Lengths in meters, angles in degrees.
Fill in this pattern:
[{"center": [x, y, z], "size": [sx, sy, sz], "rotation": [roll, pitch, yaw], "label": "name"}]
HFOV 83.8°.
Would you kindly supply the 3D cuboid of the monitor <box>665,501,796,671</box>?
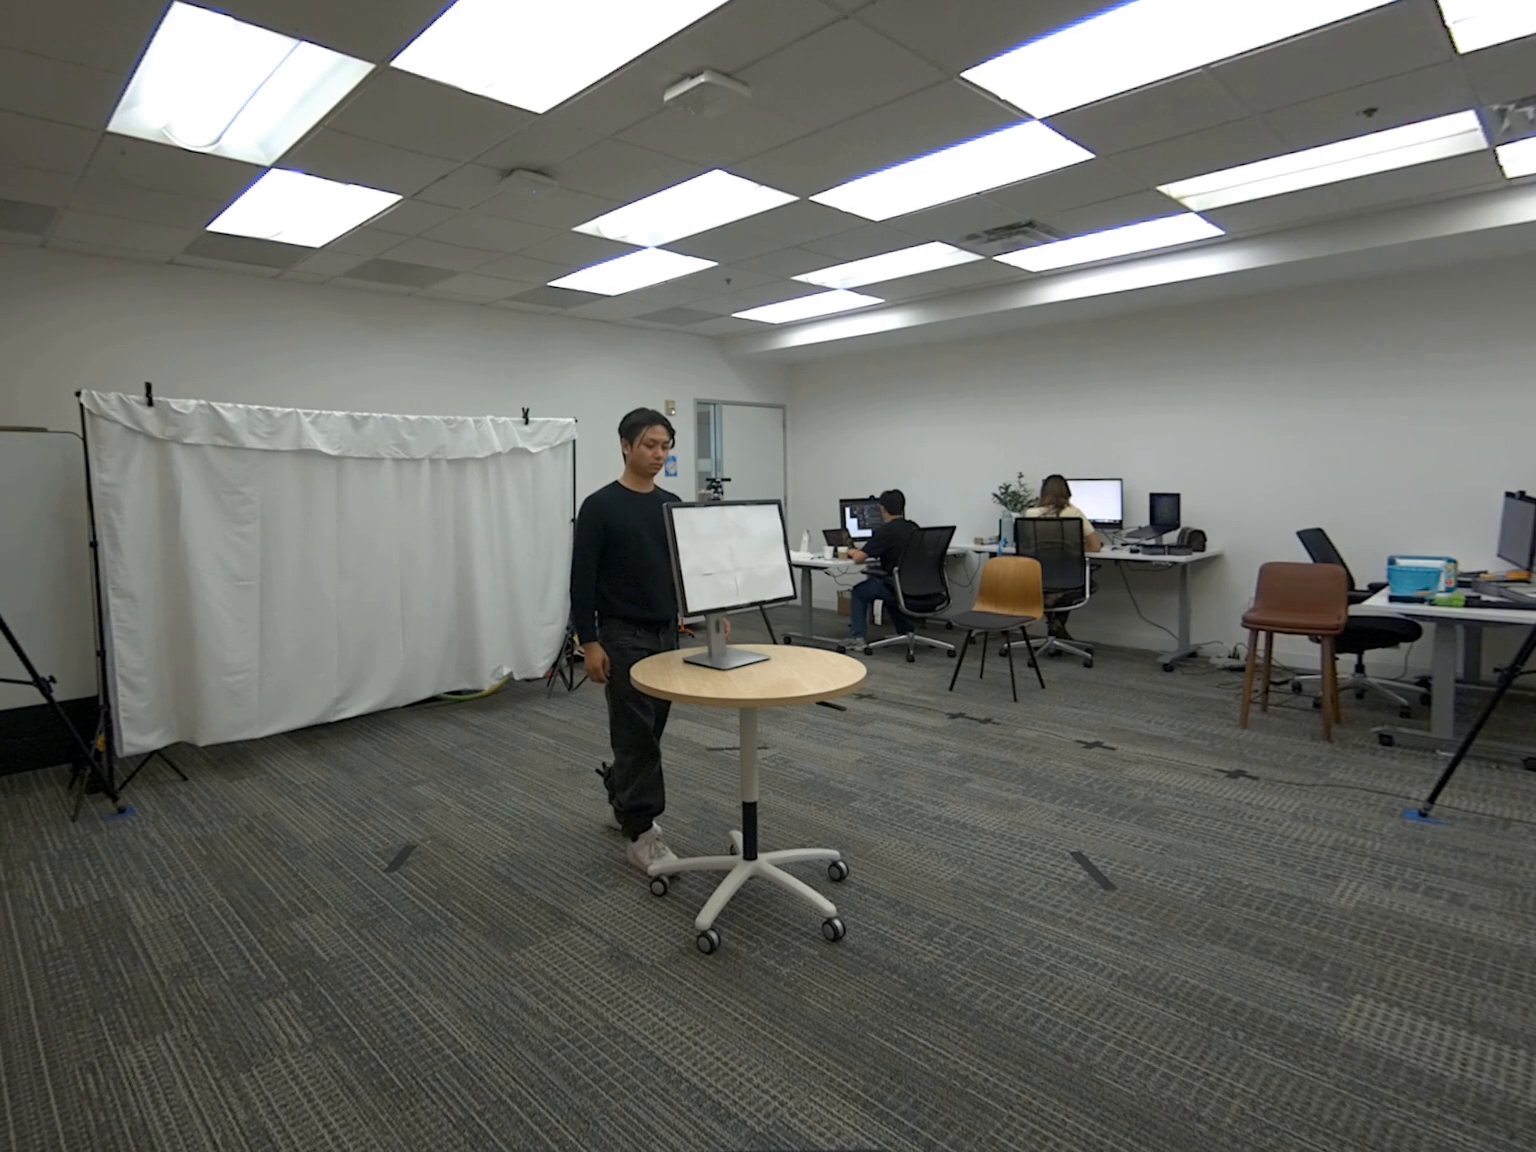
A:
[{"center": [-0.140, 0.020, 2.887], "size": [0.193, 0.520, 0.525], "rotation": [4, 7, 39], "label": "monitor"}]
